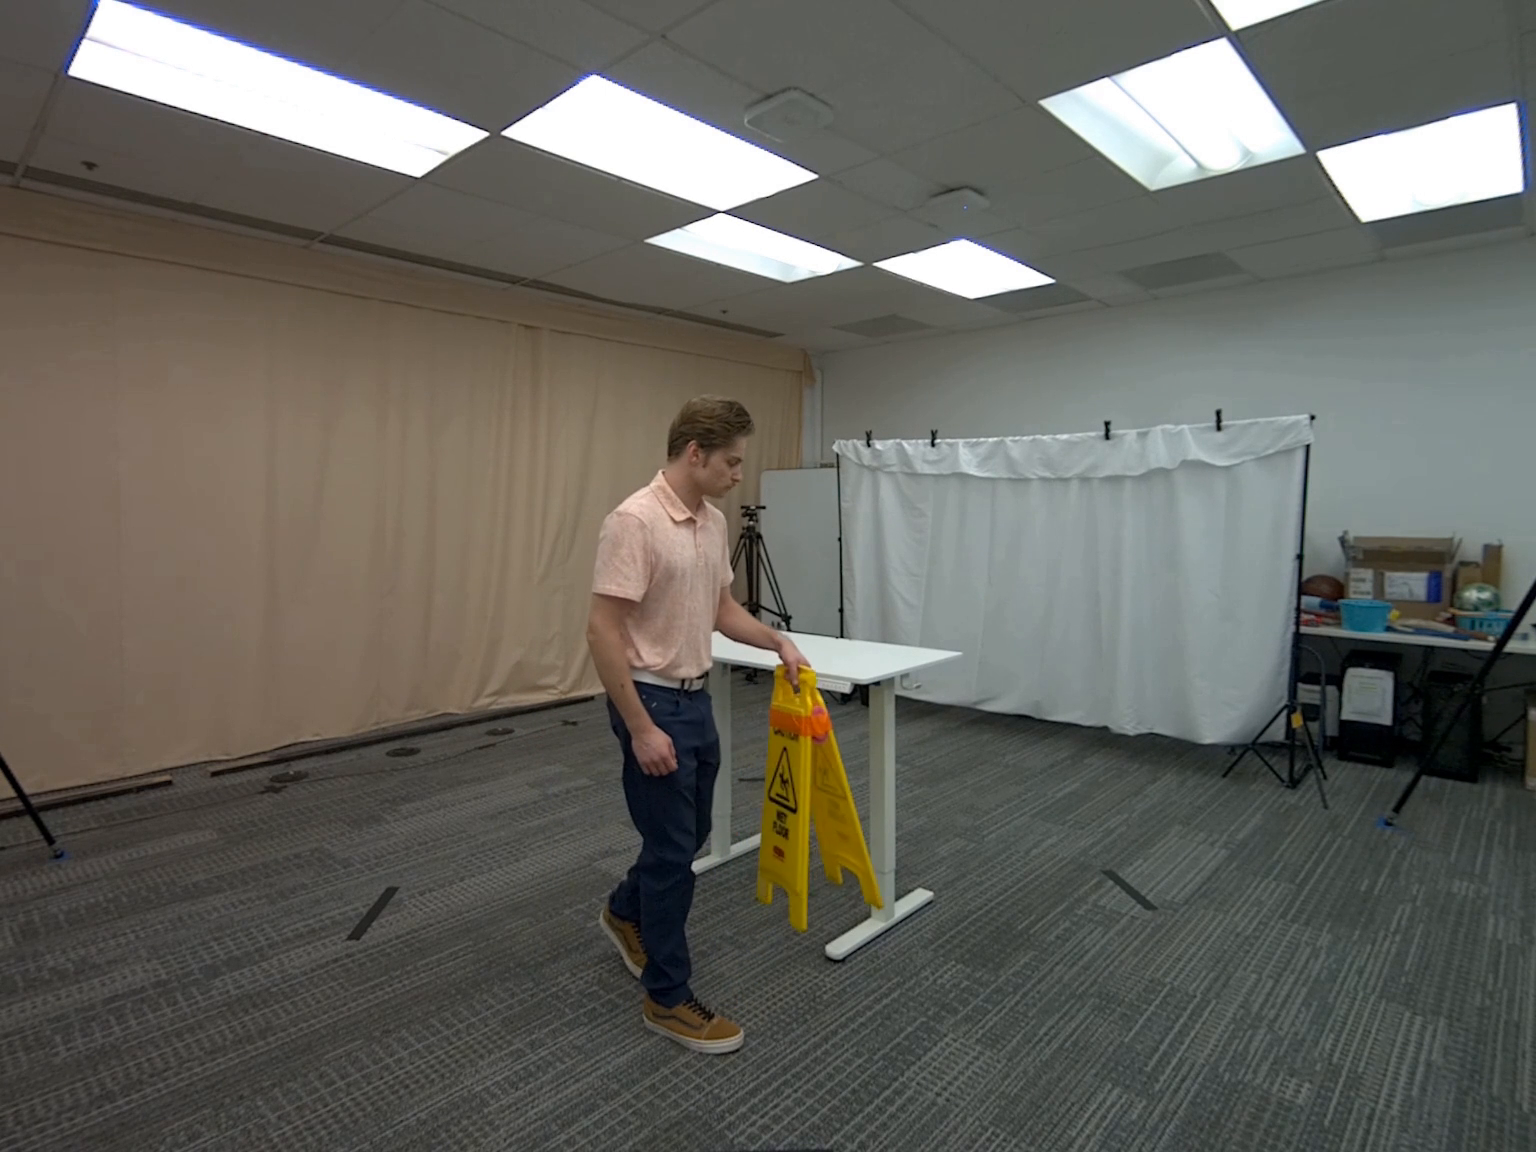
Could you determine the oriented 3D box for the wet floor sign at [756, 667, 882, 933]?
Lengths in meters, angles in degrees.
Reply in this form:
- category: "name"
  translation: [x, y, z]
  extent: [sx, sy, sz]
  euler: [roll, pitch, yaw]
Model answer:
- category: "wet floor sign"
  translation: [0.106, 0.577, 2.289]
  extent: [0.283, 0.646, 0.288]
  euler: [-6, -1, -25]
